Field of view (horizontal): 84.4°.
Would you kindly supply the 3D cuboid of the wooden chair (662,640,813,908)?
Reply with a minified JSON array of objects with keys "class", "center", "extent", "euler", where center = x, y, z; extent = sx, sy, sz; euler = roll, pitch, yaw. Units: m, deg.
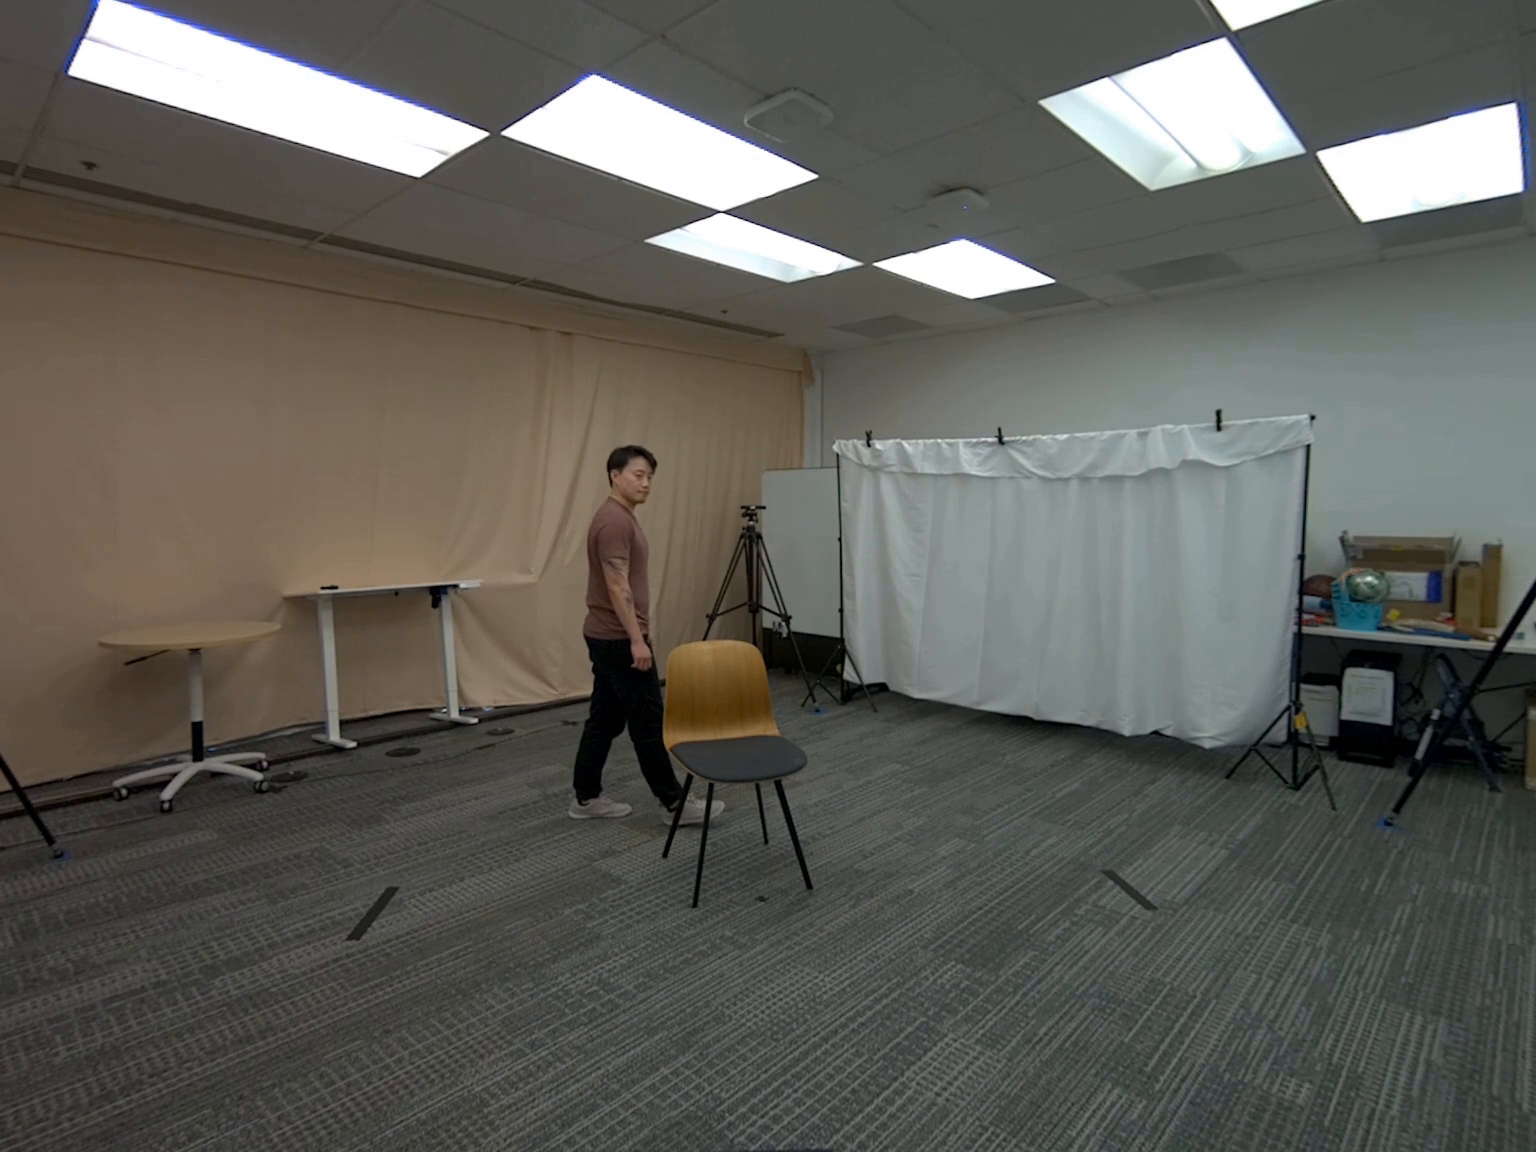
[{"class":"wooden chair","center":[-0.127,0.704,3.160],"extent":[0.469,0.878,0.533],"euler":[-1,0,-19]}]
